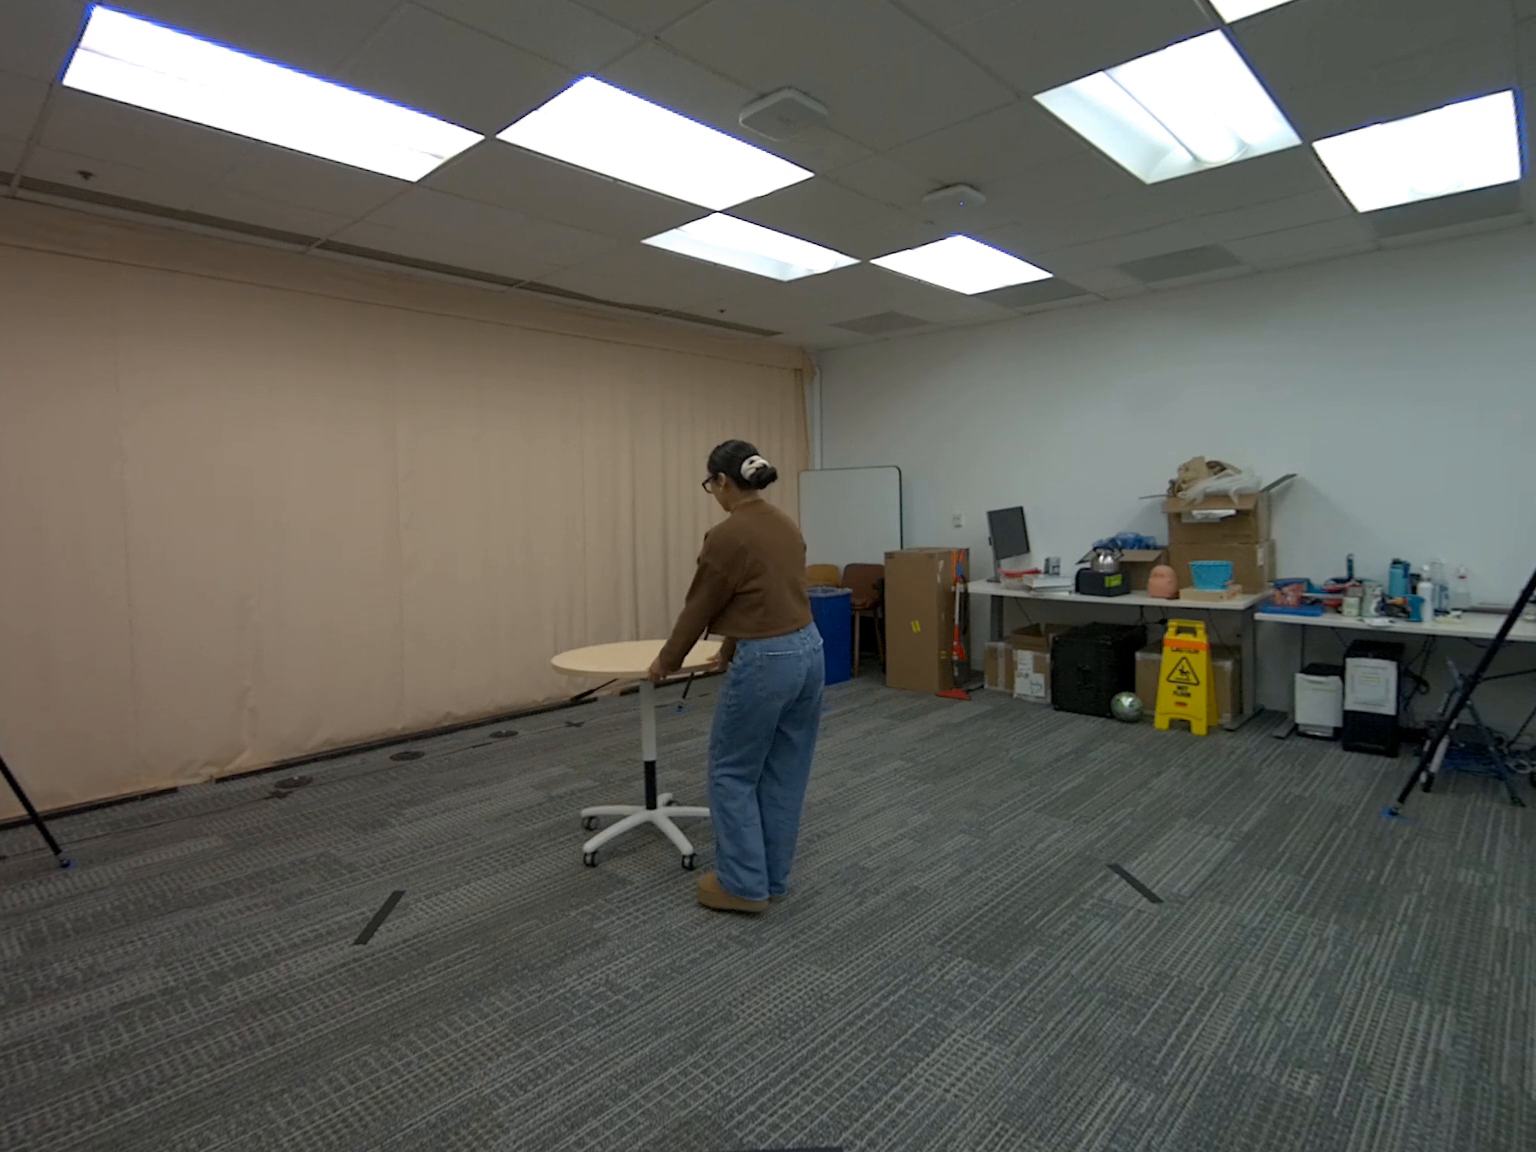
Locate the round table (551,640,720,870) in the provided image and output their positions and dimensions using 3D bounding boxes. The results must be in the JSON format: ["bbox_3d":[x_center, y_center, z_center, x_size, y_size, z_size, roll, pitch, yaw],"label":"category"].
[{"bbox_3d":[-0.462,0.712,3.473,0.784,0.785,0.788,-3,3,-2],"label":"round table"}]
